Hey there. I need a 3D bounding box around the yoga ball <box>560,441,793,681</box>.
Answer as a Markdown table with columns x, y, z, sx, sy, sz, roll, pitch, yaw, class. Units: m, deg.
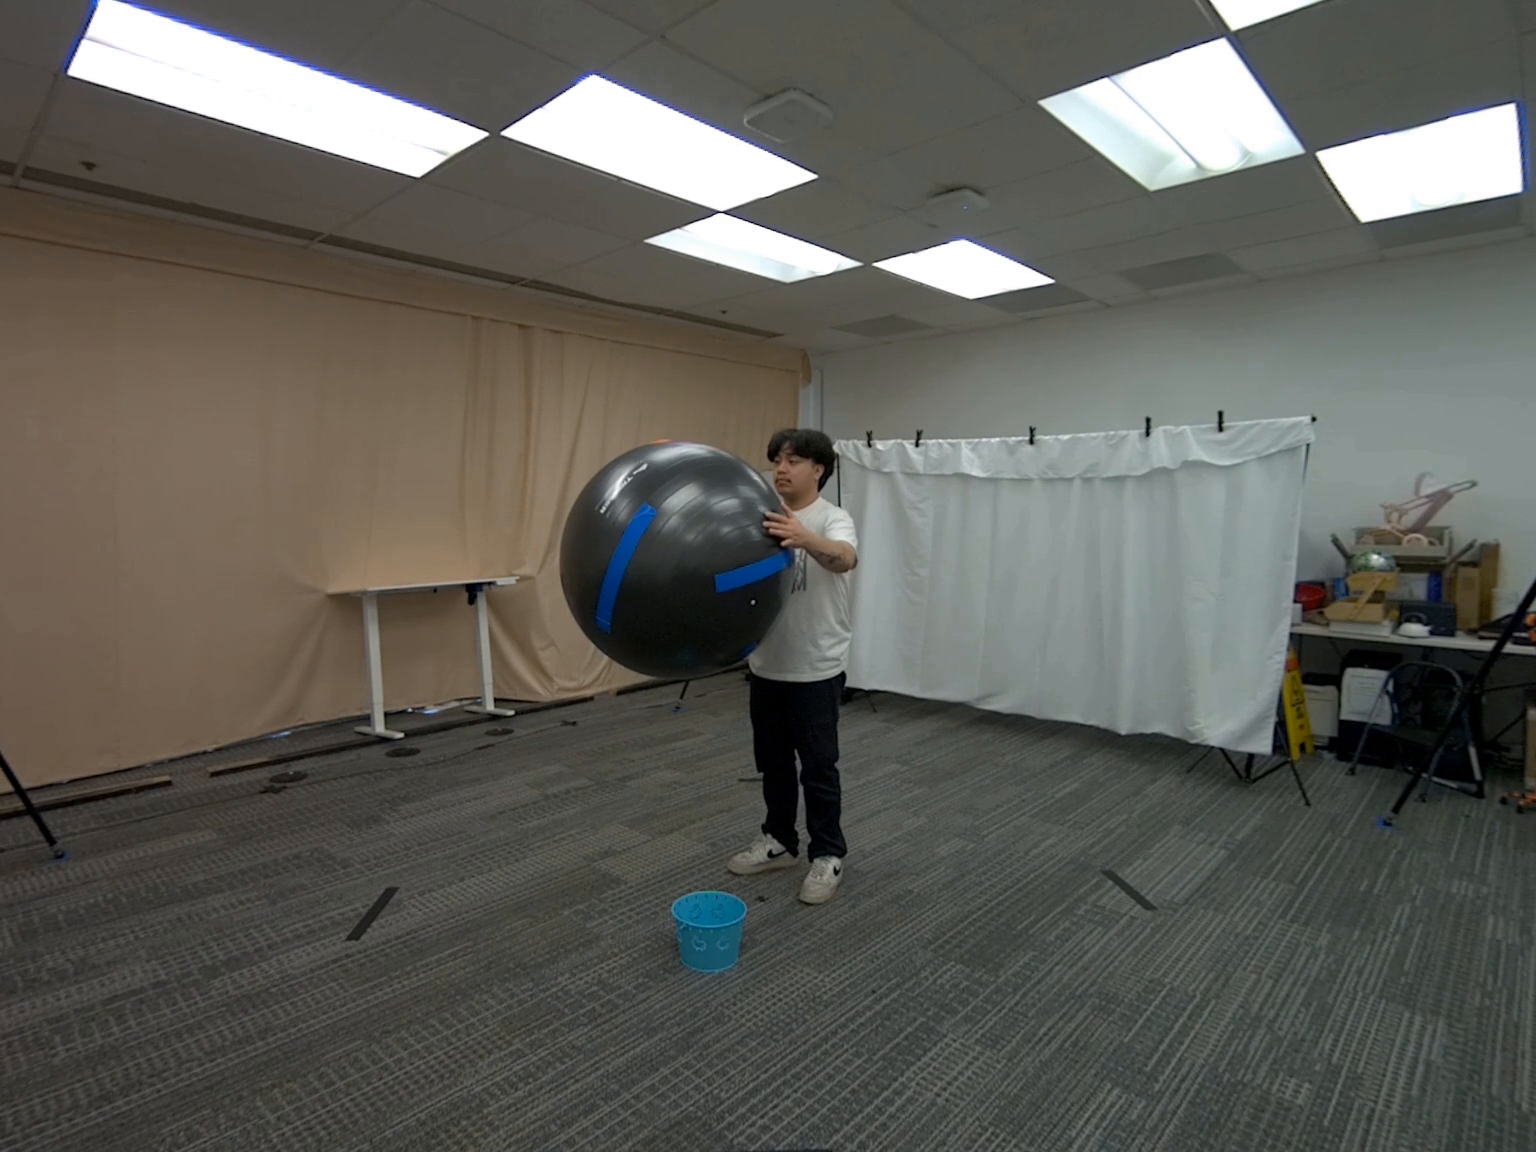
| x | y | z | sx | sy | sz | roll | pitch | yaw | class |
| --- | --- | --- | --- | --- | --- | --- | --- | --- | --- |
| -0.294 | -0.047 | 2.712 | 0.757 | 0.756 | 0.760 | 0 | 4 | -2 | yoga ball |
